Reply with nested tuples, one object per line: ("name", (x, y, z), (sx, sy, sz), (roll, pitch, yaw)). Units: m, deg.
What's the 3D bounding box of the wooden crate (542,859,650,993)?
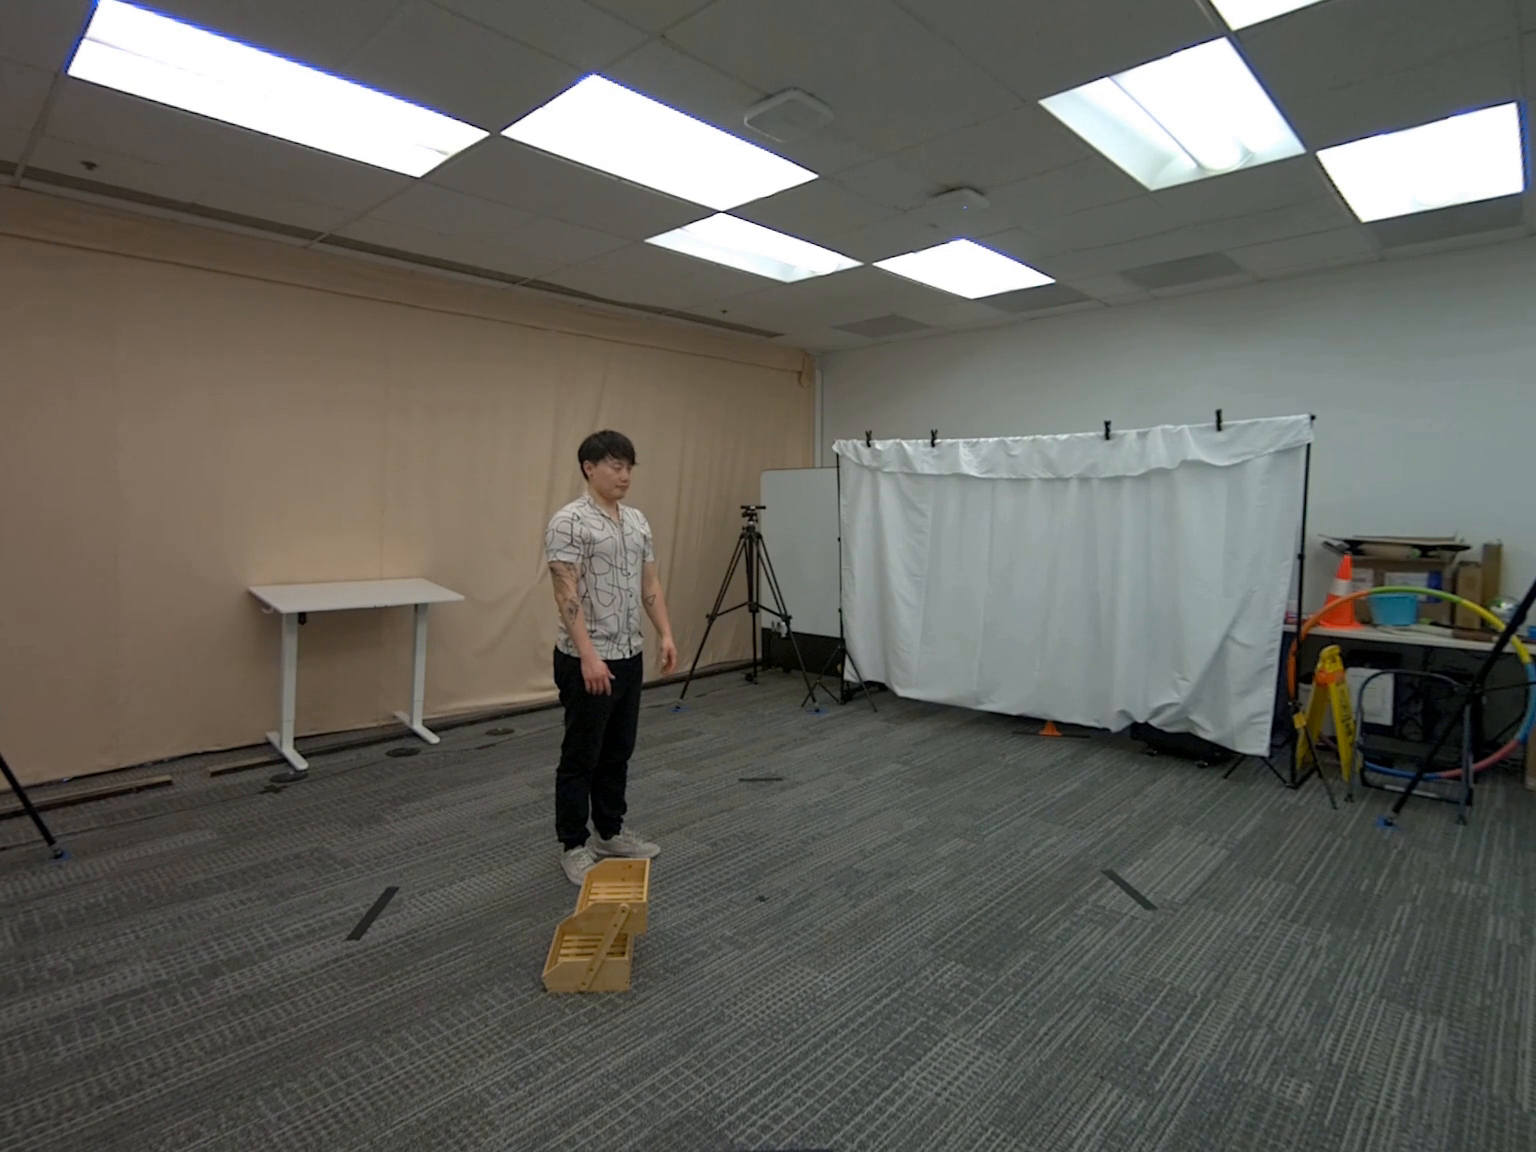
("wooden crate", (-0.520, 1.051, 2.556), (0.300, 0.273, 0.327), (-1, 4, -6))
